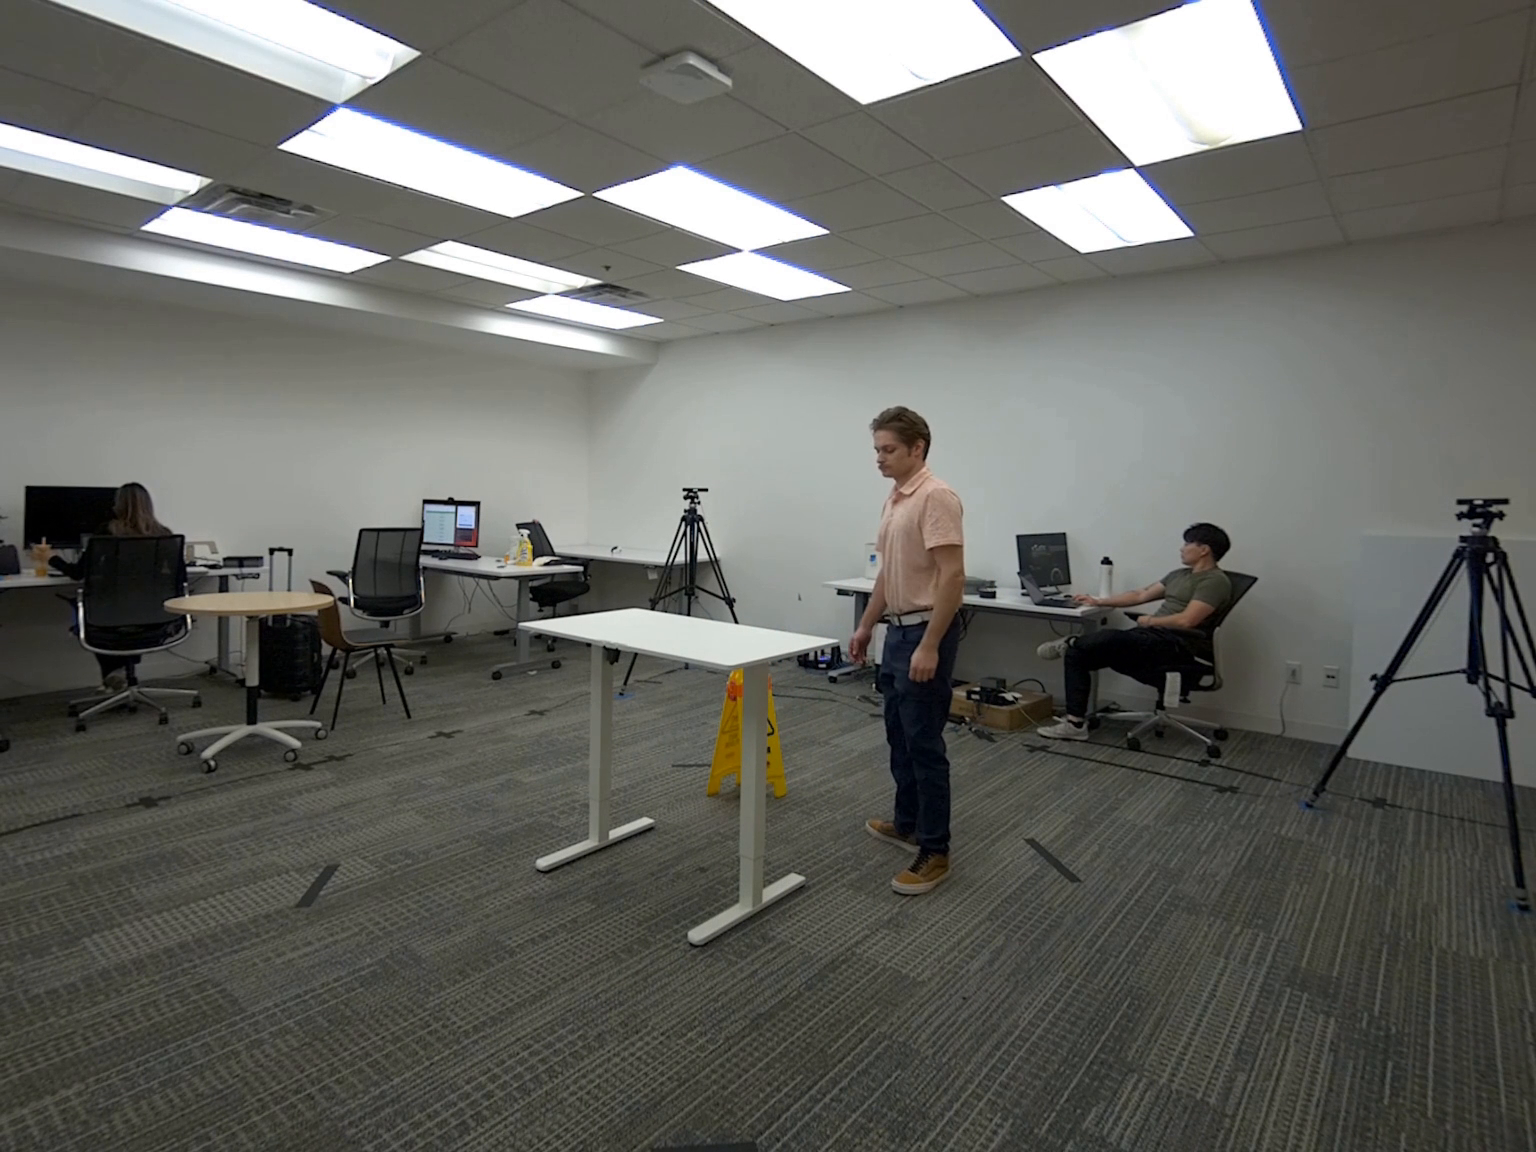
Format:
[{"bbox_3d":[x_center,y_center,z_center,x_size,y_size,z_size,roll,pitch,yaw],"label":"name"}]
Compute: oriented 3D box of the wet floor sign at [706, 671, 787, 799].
[{"bbox_3d":[-0.094,0.675,3.869,0.299,0.644,0.274,5,5,39],"label":"wet floor sign"}]
